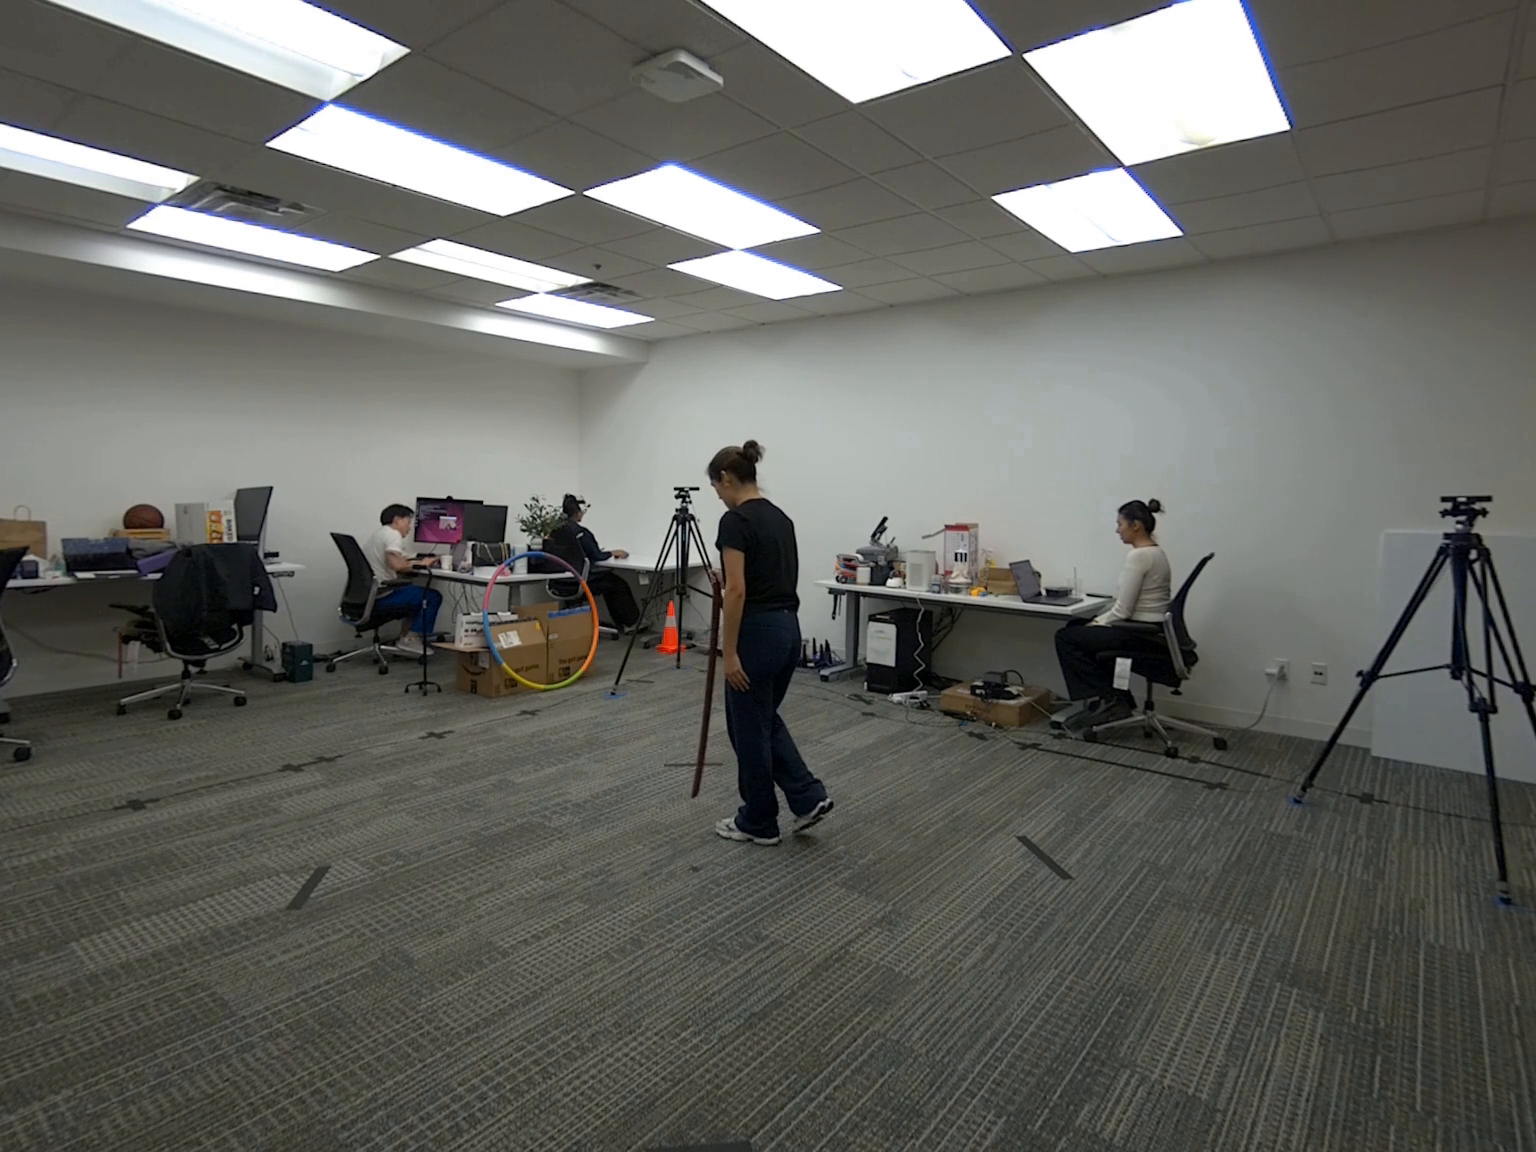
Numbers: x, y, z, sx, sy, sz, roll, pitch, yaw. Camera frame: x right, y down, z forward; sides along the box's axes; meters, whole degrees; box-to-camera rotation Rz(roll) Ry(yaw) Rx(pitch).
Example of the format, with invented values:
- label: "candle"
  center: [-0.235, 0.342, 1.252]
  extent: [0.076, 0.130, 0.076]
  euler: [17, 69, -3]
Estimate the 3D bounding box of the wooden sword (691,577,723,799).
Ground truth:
- label: "wooden sword"
  center: [-0.239, 0.488, 3.702]
  extent: [0.025, 1.019, 0.050]
  euler: [10, 7, 37]
